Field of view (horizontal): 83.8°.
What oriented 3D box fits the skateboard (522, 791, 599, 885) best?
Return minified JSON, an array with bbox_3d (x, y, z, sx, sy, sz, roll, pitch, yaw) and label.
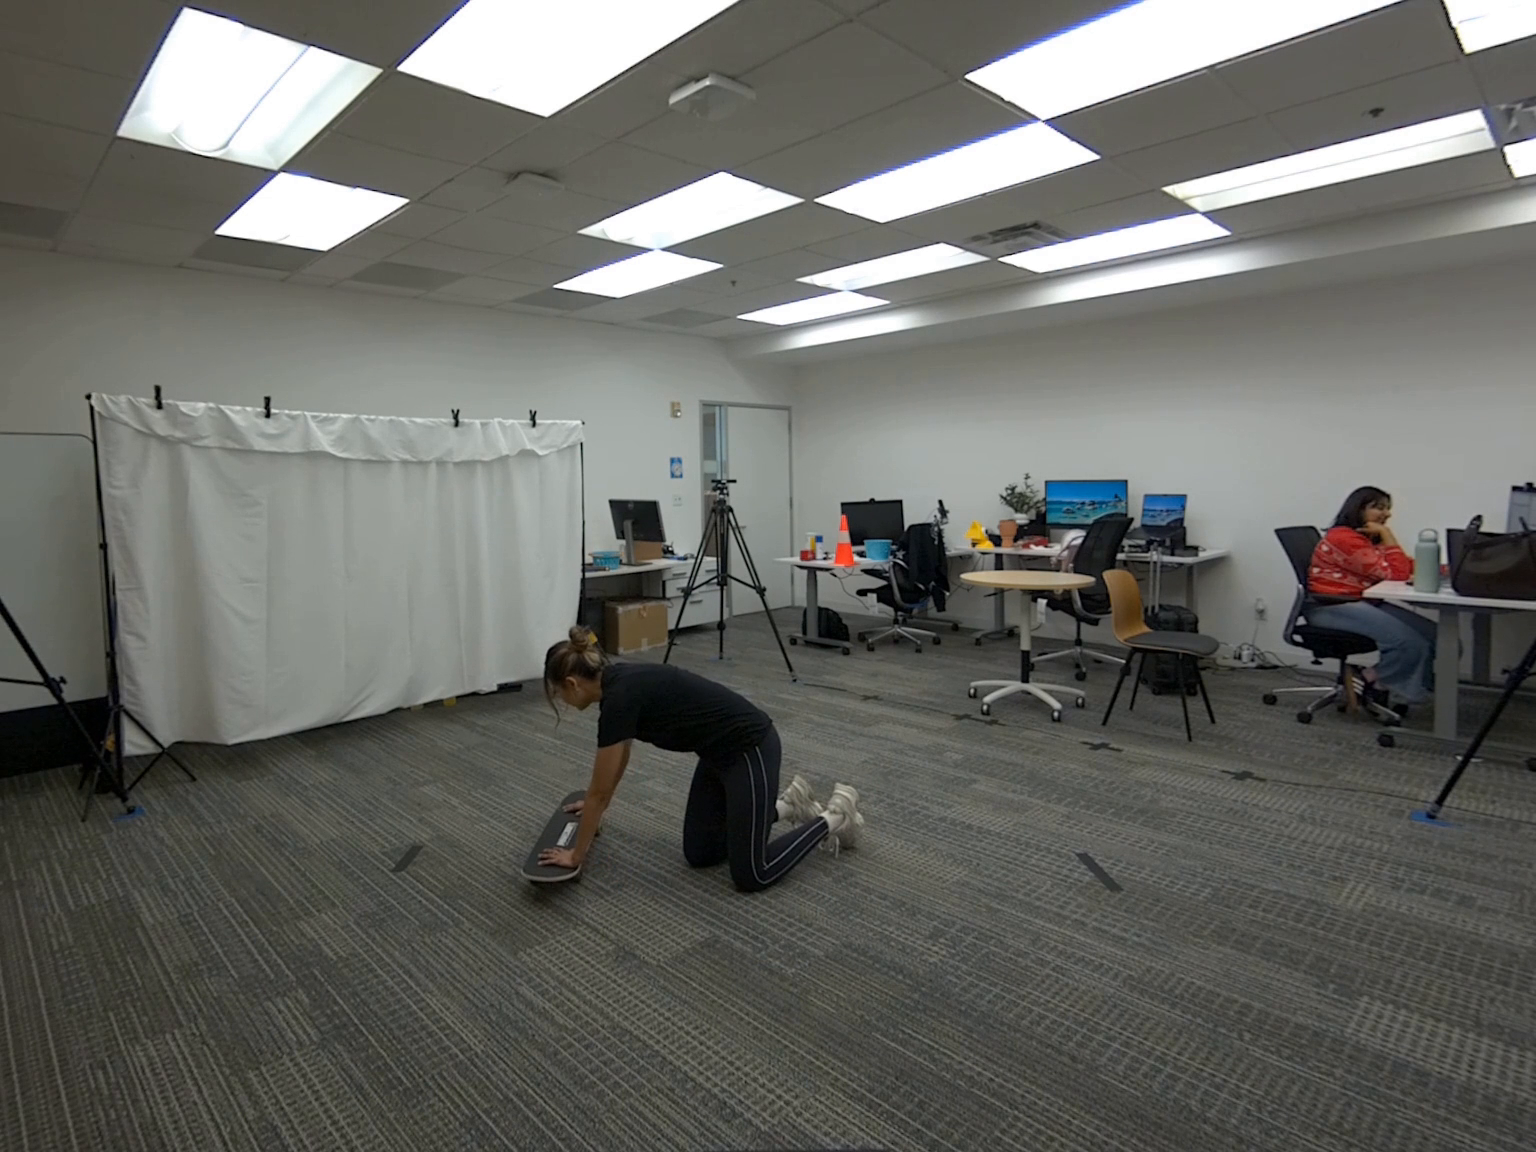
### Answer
[{"bbox_3d":[-0.739,0.985,3.195,0.193,0.110,0.789,0,6,-1],"label":"skateboard"}]
